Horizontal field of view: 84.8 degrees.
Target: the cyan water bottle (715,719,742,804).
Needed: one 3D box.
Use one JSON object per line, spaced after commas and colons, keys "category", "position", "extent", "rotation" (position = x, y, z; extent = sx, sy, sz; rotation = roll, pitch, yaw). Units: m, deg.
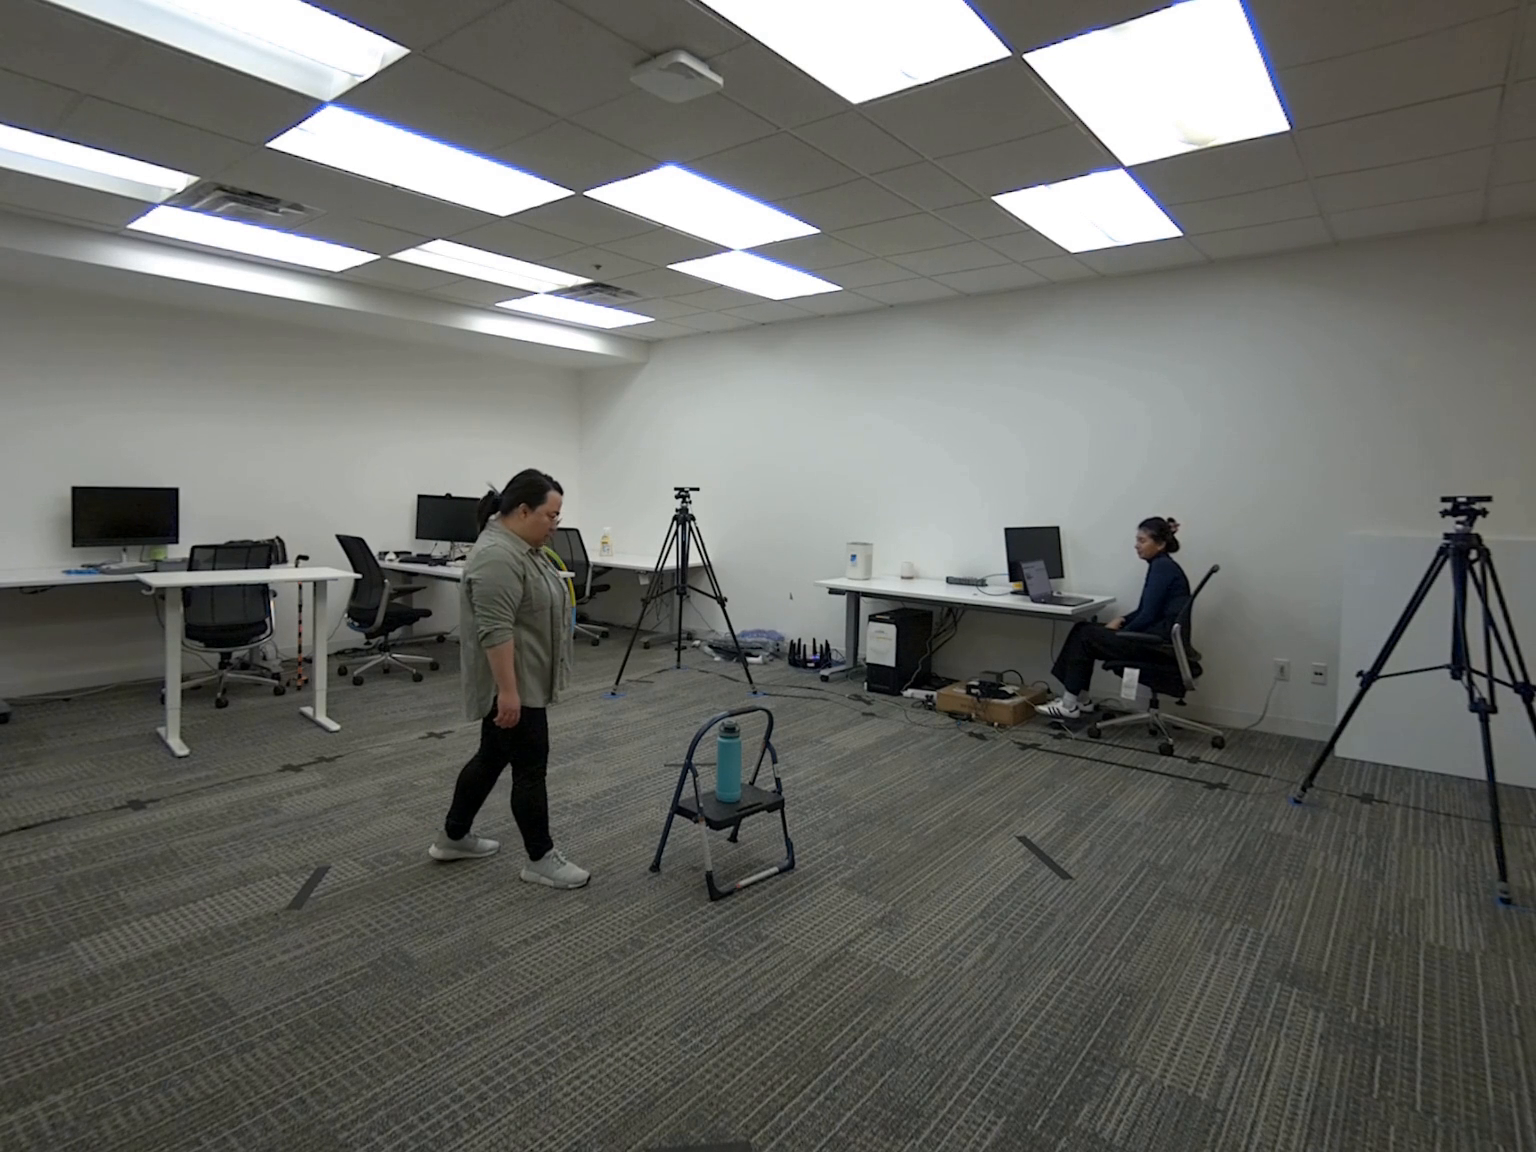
{"category": "cyan water bottle", "position": [-0.152, 0.669, 3.094], "extent": [0.092, 0.283, 0.092], "rotation": [-1, 0, -2]}
